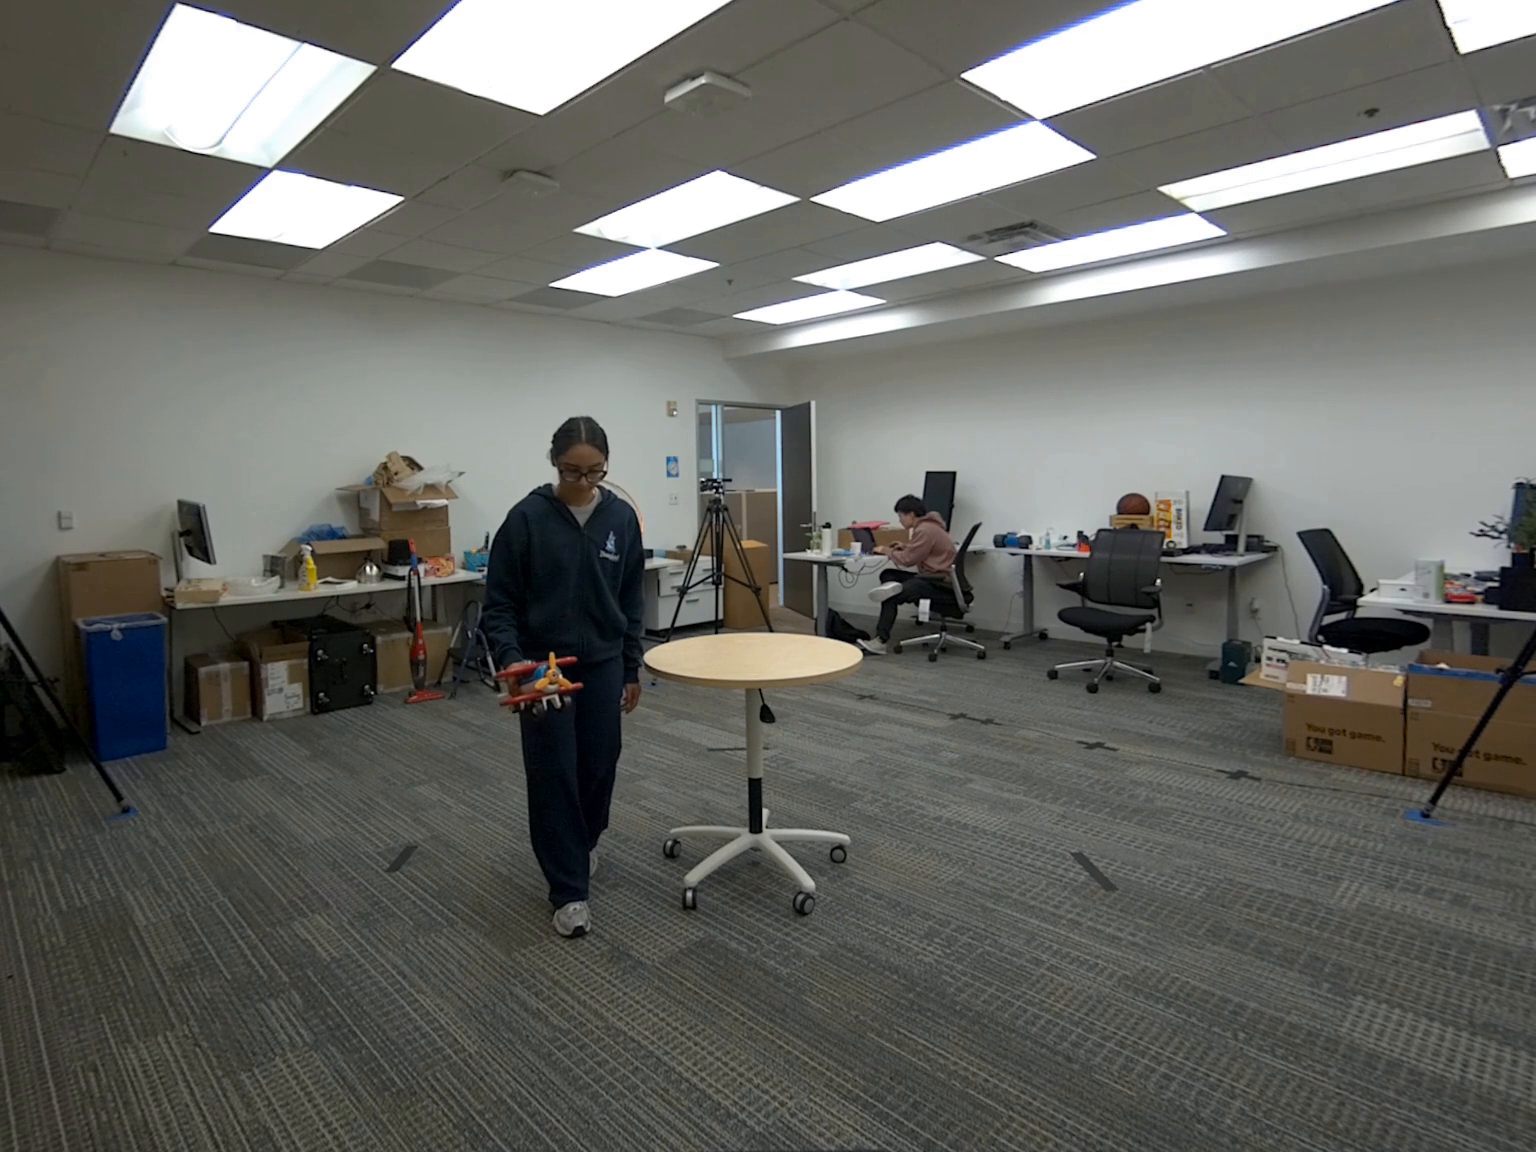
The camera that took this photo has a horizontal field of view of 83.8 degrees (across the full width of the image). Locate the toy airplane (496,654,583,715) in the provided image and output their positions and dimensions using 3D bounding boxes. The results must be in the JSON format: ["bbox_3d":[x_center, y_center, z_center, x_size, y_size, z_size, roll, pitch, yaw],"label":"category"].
[{"bbox_3d":[-0.702,0.332,2.484,0.263,0.156,0.247,-5,2,19],"label":"toy airplane"}]
